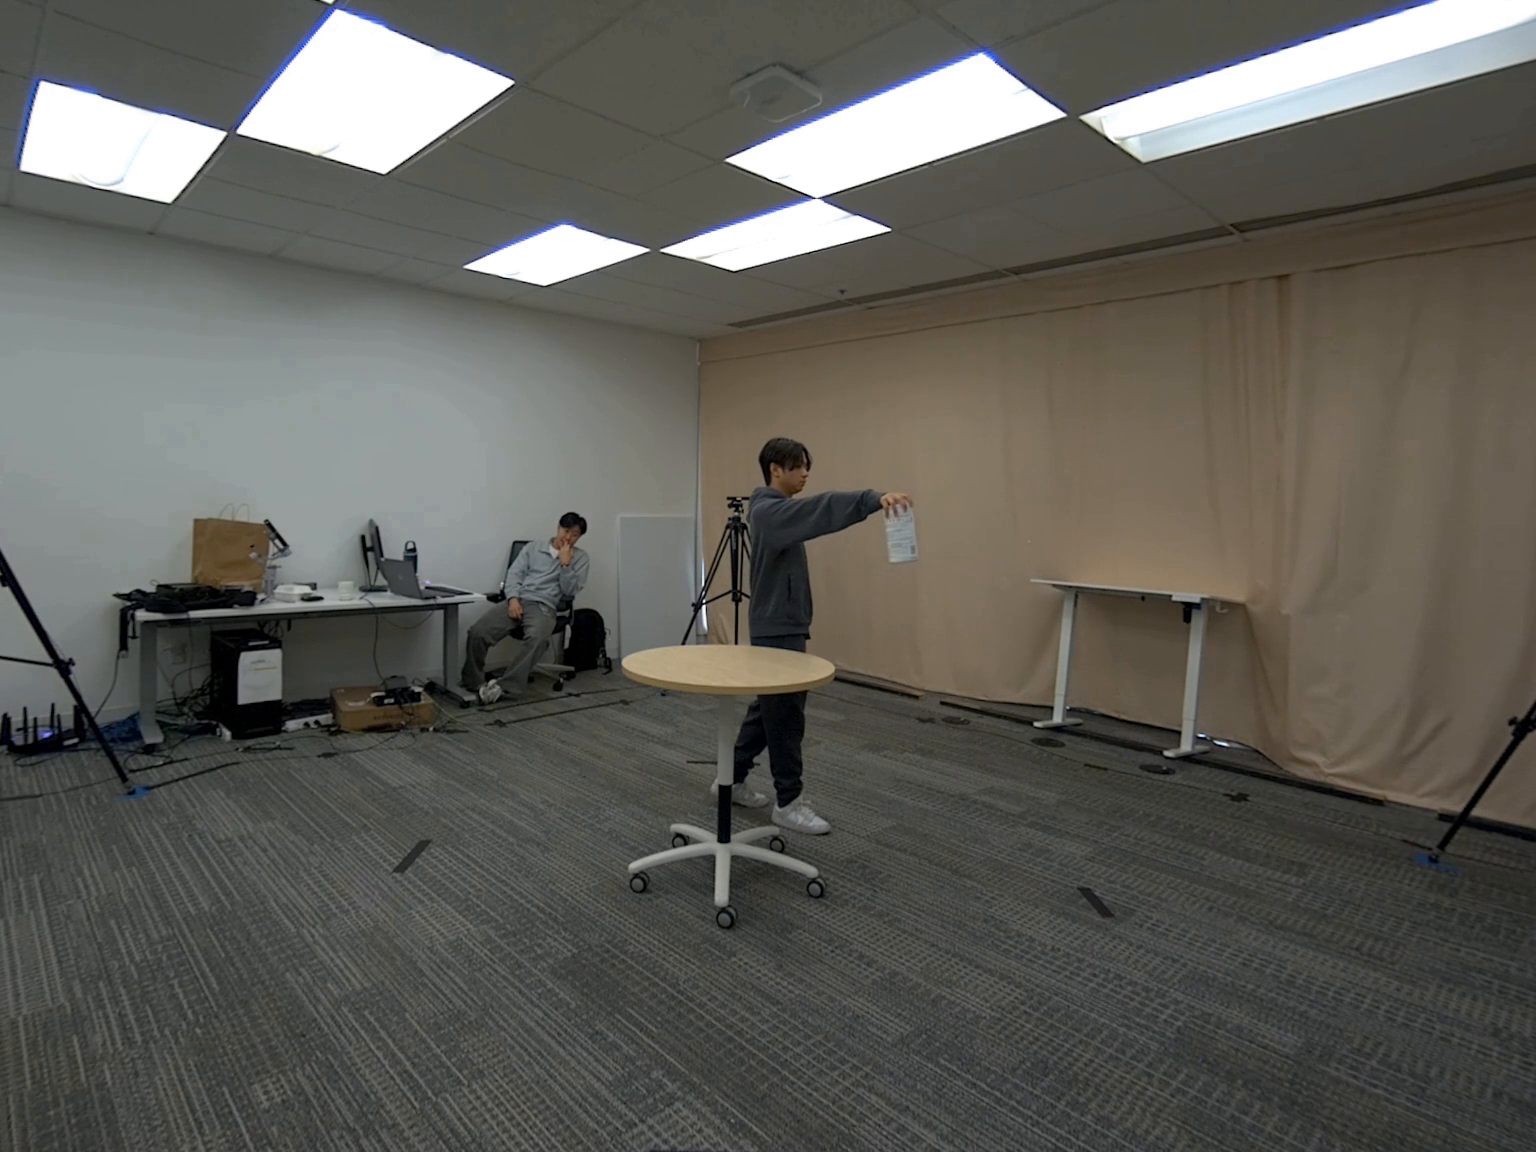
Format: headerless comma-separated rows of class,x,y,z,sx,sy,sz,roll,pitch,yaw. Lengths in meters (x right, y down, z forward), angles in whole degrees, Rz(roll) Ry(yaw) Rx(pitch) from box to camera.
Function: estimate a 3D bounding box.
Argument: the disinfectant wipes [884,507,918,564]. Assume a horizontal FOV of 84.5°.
disinfectant wipes,0.487,-0.157,3.117,0.118,0.217,0.118,-6,1,-1
